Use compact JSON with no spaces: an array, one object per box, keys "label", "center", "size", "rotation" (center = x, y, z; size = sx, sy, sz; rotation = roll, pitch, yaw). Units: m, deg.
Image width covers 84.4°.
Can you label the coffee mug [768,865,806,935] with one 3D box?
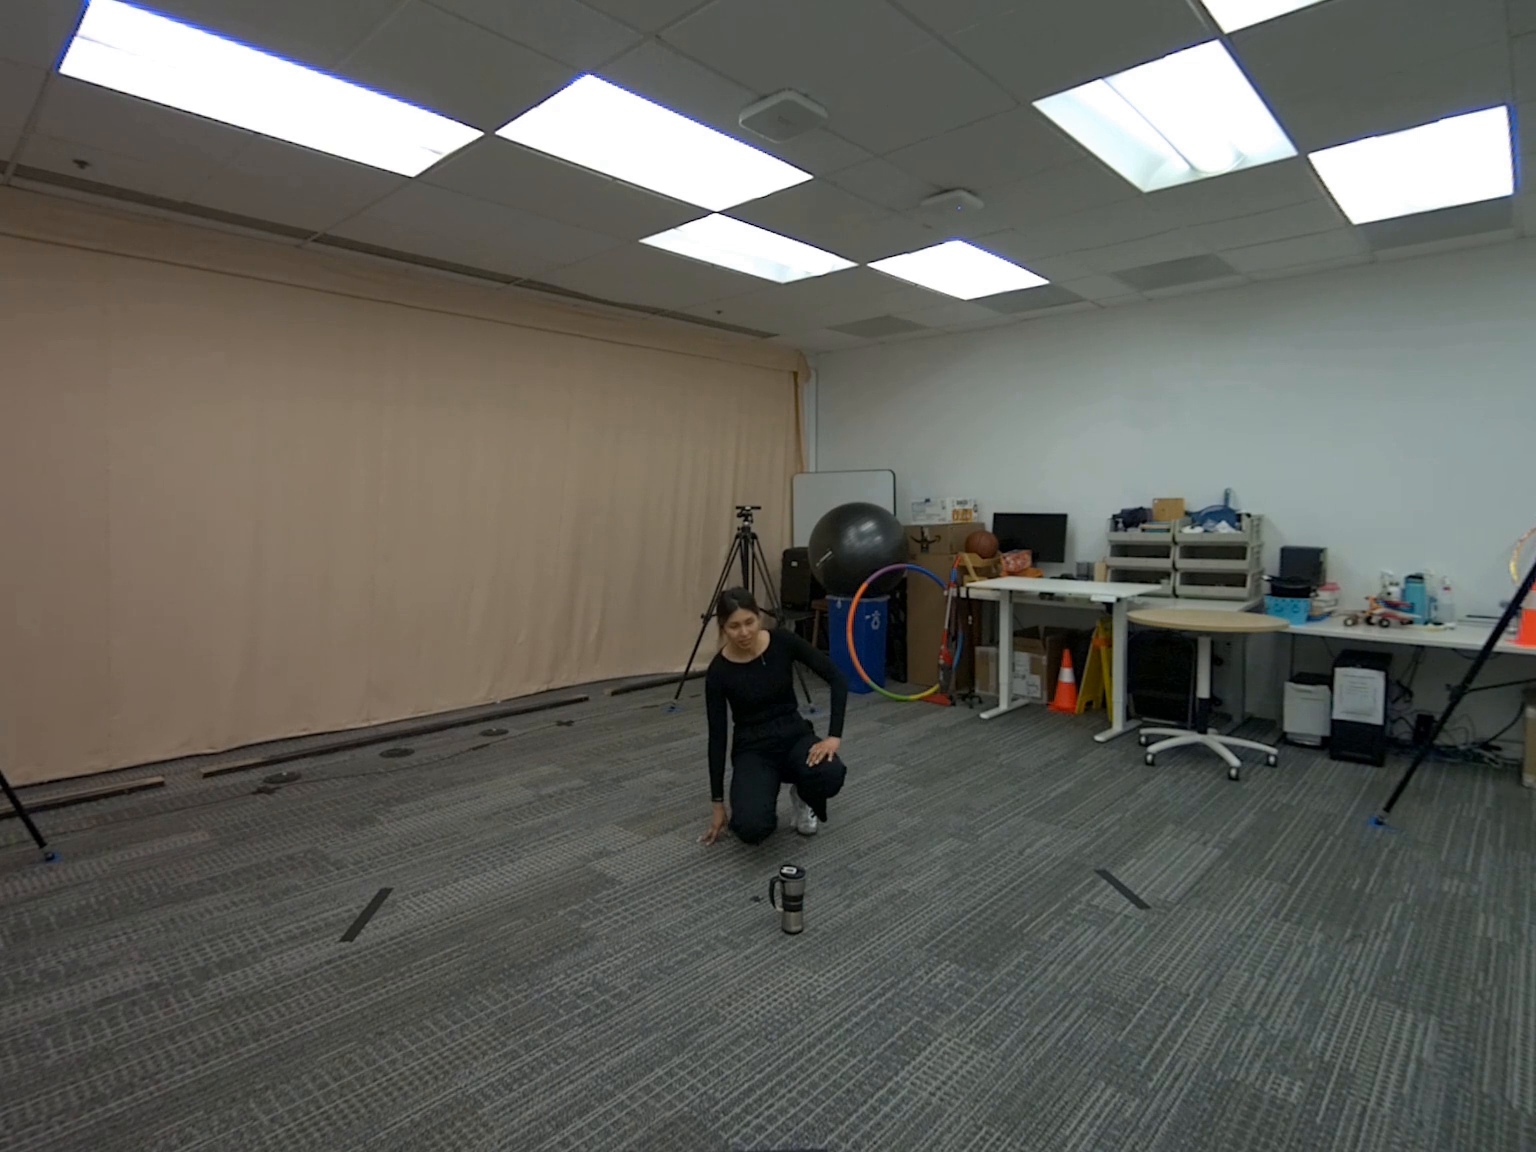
[{"label":"coffee mug","center":[0.059,1.055,2.771],"size":[0.124,0.202,0.086],"rotation":[5,6,16]}]
